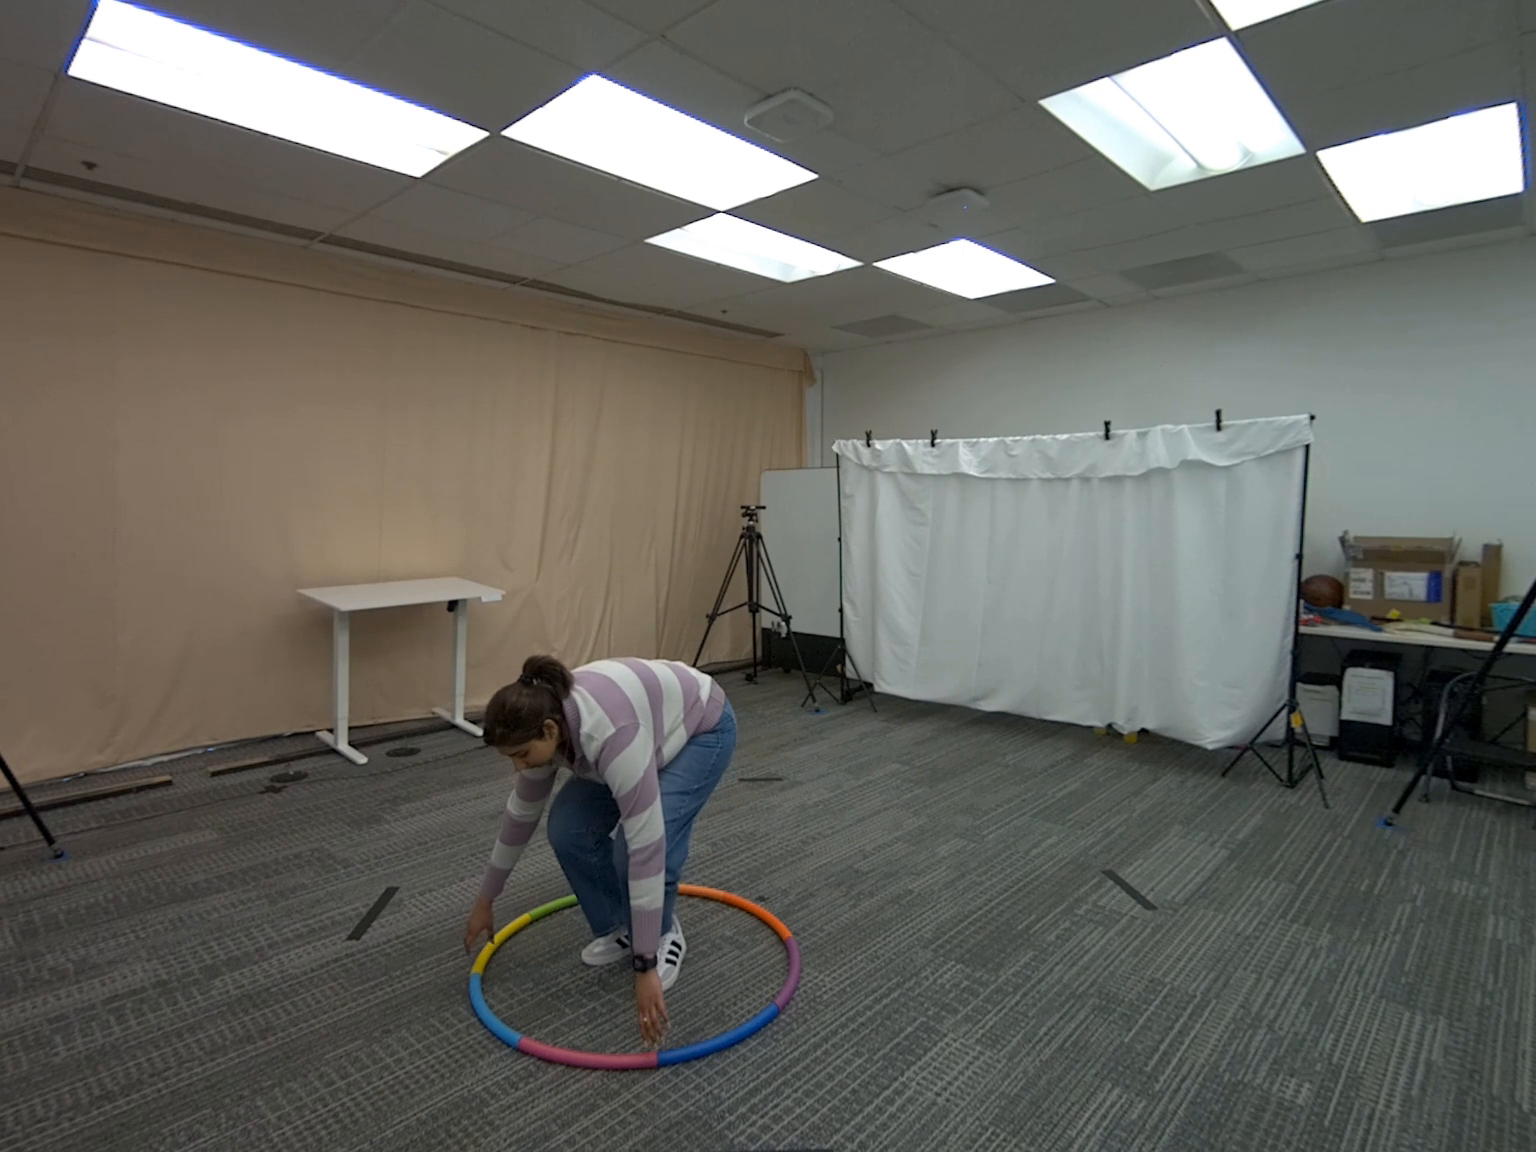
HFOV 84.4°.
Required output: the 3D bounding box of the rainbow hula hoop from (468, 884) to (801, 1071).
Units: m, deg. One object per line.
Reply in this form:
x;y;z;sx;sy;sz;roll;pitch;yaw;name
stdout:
-0.392;1.154;2.564;0.978;0.035;0.982;-1;5;-2;rainbow hula hoop
